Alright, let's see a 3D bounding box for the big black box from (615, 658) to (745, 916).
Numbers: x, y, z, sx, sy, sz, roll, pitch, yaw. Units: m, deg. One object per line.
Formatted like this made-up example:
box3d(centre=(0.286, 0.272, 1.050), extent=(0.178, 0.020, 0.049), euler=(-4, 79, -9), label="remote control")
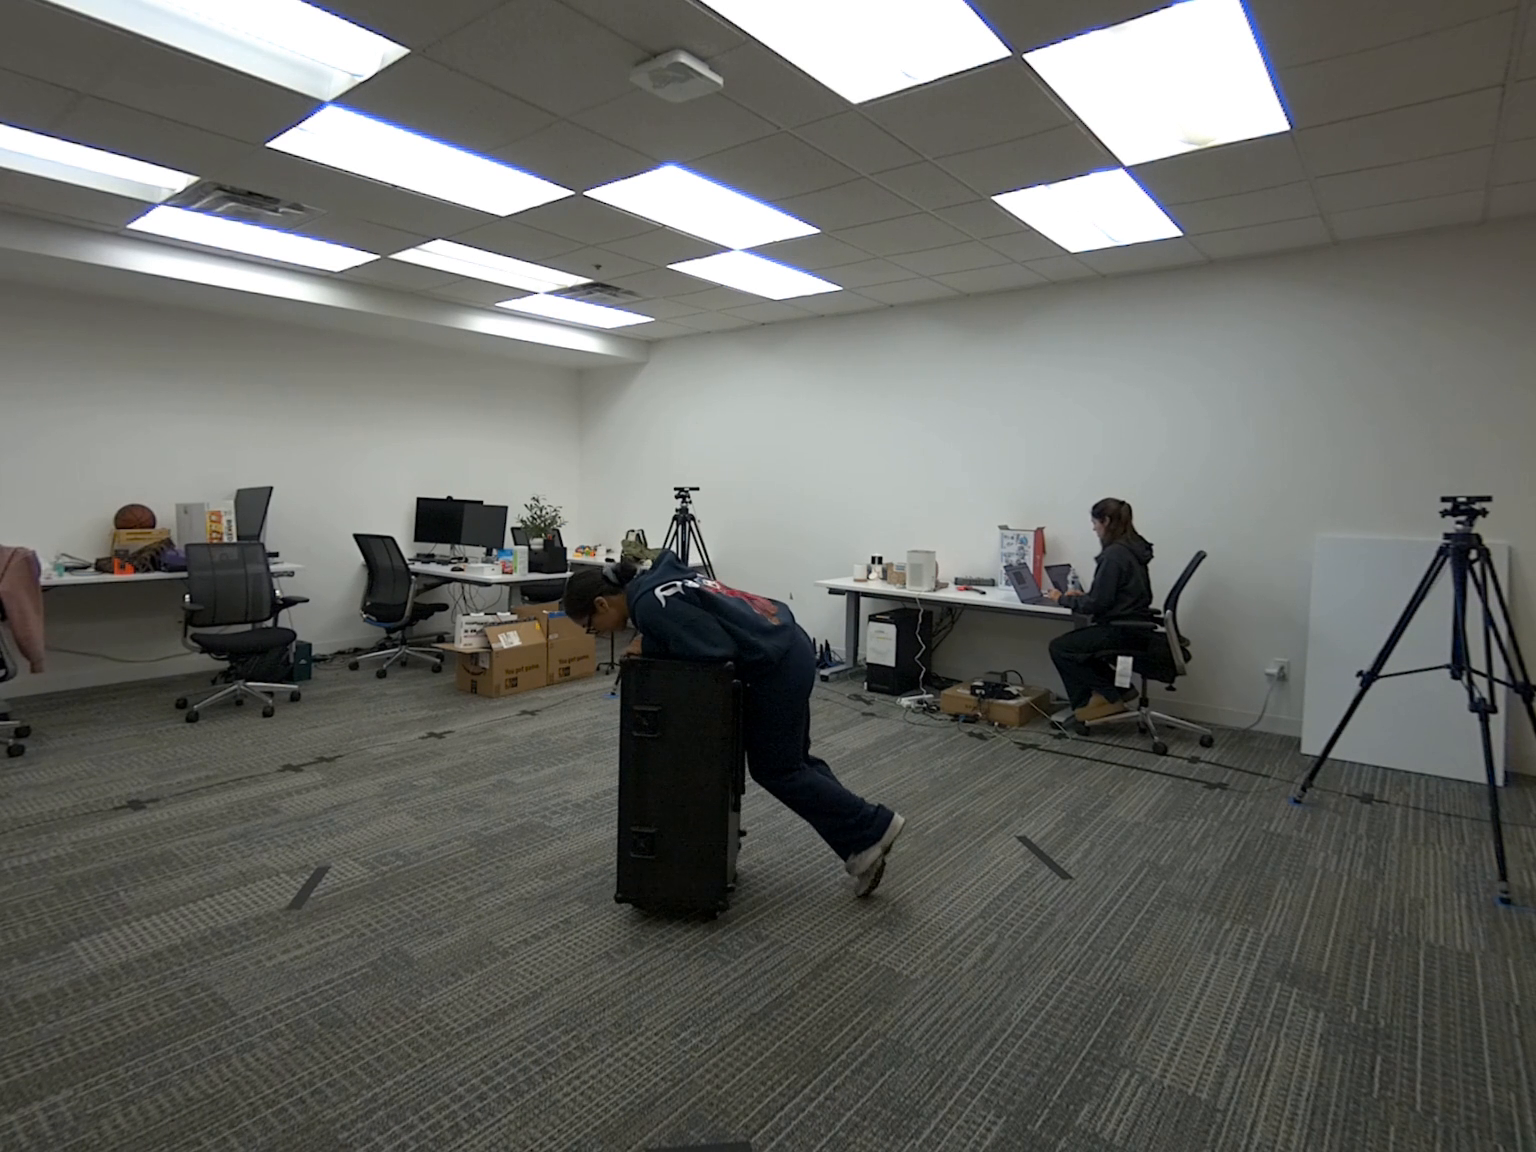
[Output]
box3d(centre=(-0.278, 0.663, 2.894), extent=(0.399, 0.859, 0.519), euler=(3, 3, 5), label="big black box")
